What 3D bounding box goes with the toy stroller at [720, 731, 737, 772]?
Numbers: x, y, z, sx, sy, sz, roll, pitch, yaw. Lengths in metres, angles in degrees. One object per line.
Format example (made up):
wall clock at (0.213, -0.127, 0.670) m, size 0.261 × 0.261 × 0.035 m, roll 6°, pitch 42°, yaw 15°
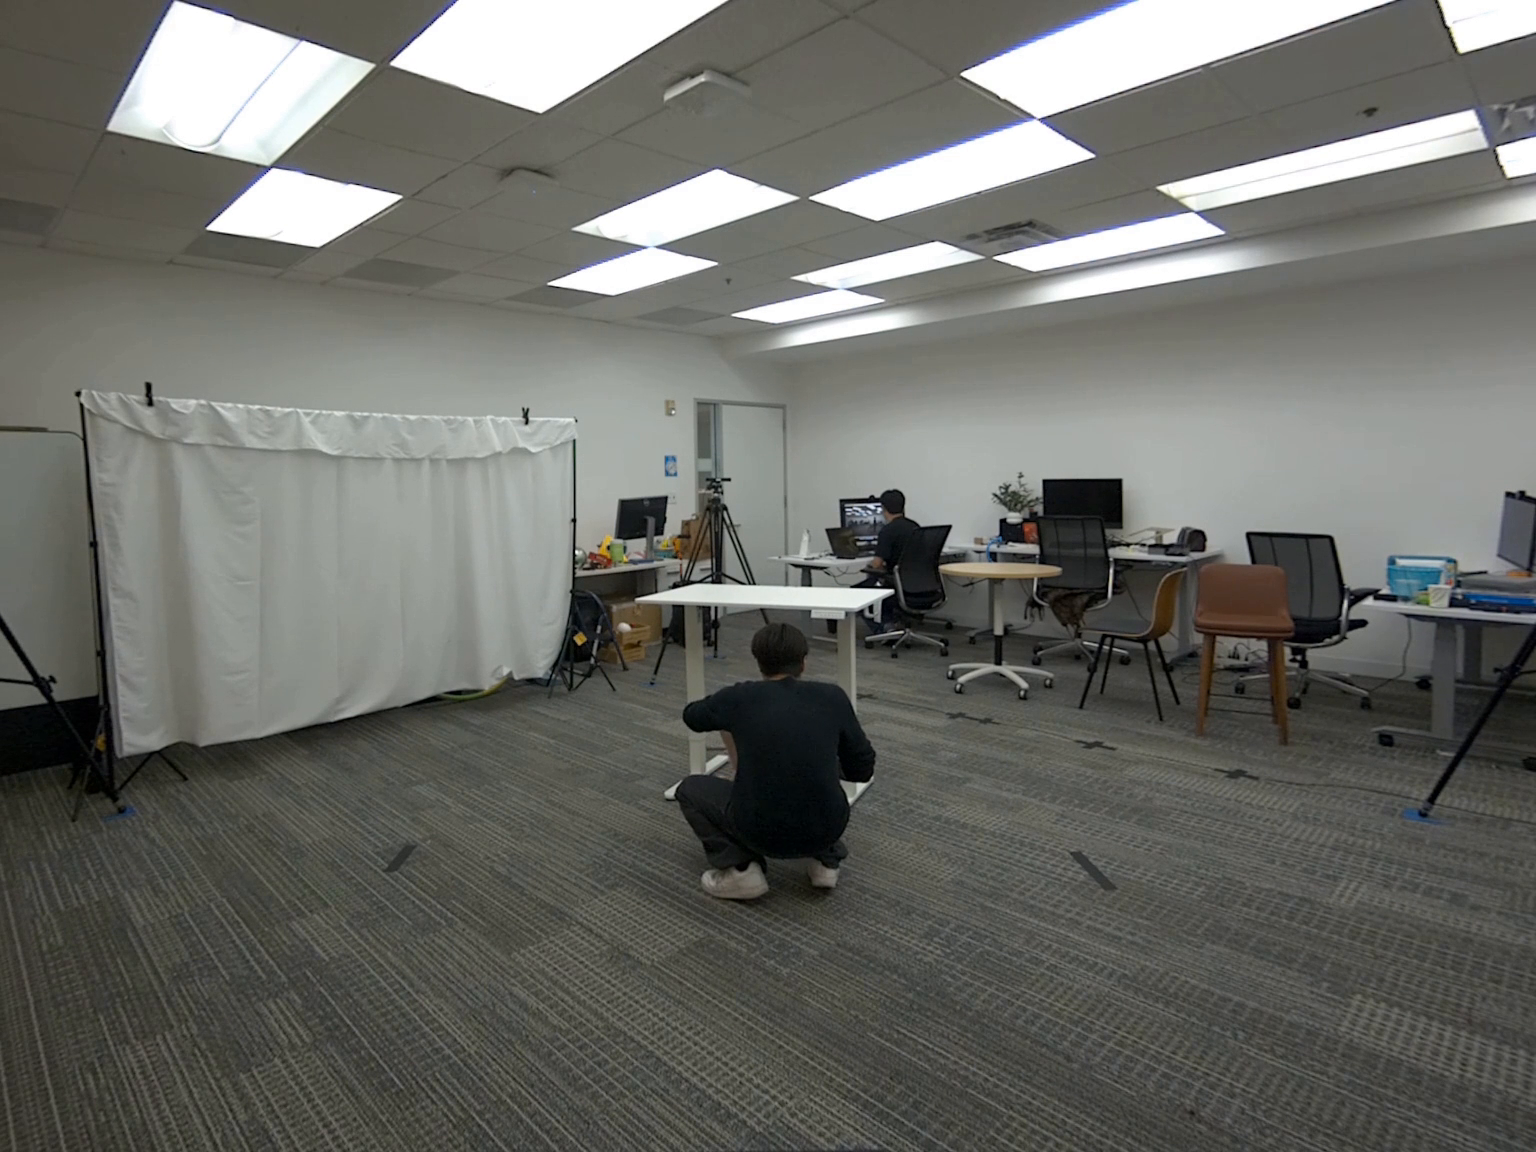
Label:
toy stroller at (-0.061, 0.755, 3.696) m, size 0.289 × 0.525 × 0.339 m, roll 2°, pitch 22°, yaw 29°
